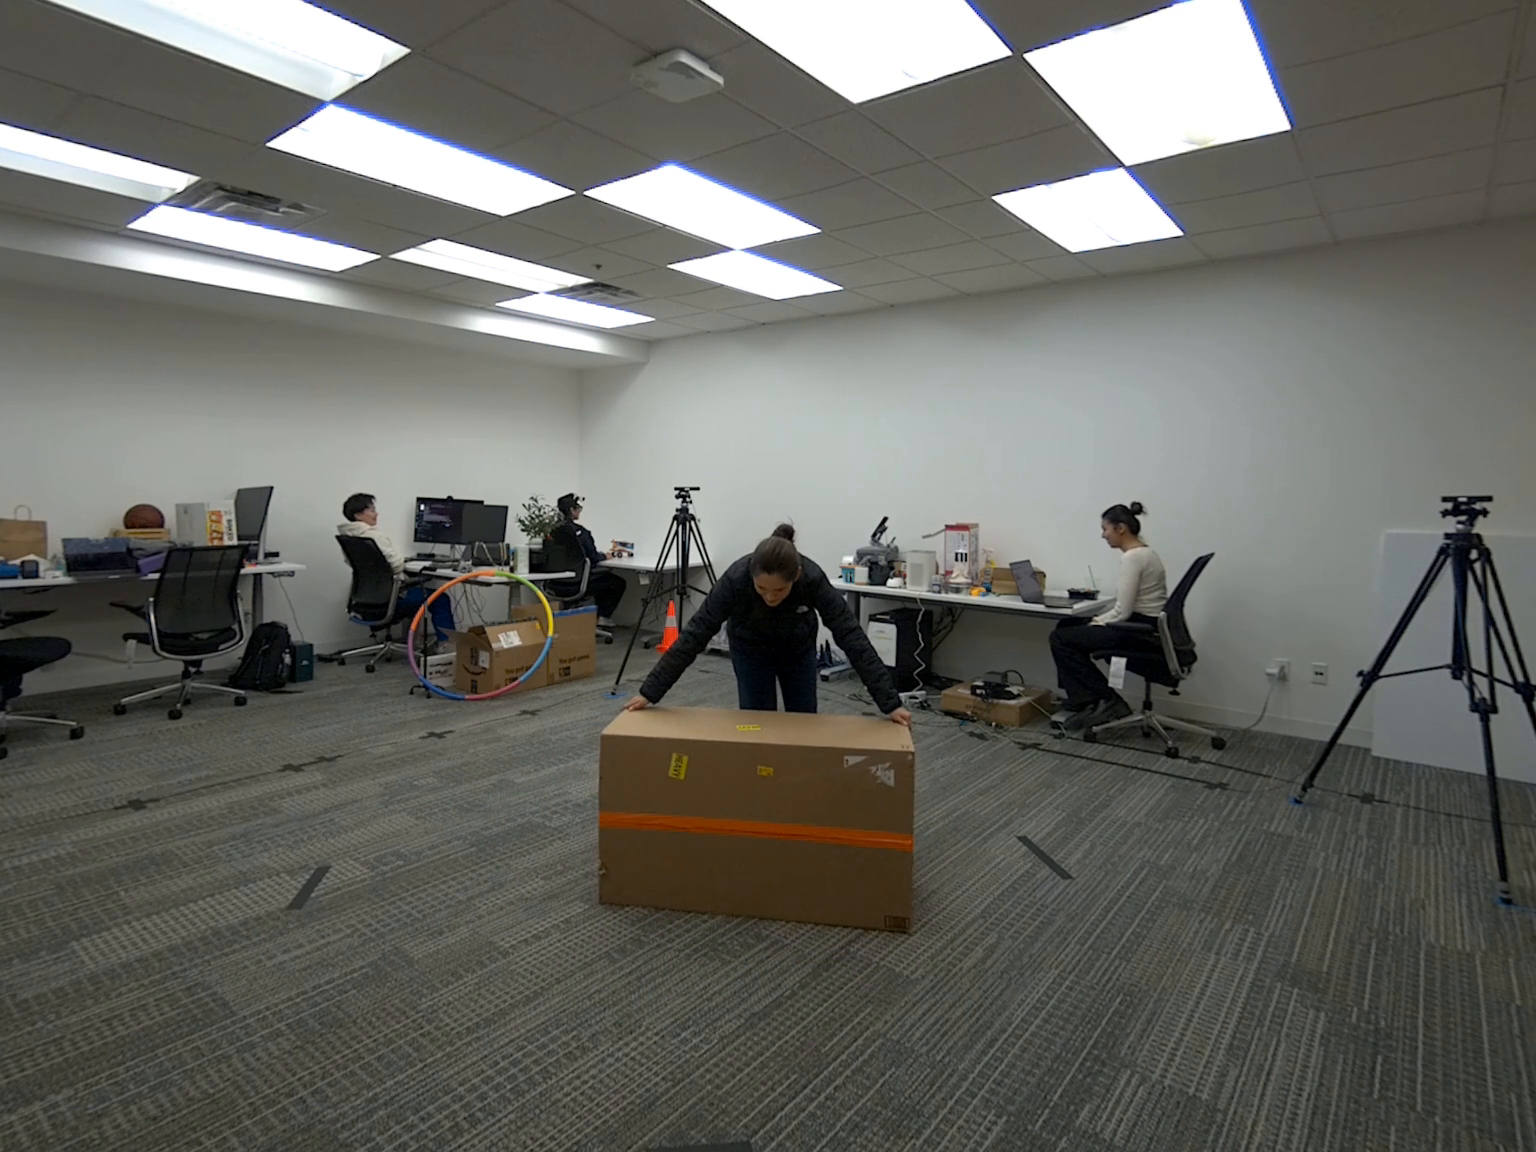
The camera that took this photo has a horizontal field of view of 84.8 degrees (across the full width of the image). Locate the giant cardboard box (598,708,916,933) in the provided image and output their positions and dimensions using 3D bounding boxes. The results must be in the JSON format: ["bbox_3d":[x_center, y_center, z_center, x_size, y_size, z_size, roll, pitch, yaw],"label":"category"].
[{"bbox_3d":[-0.022,0.797,2.955,1.037,0.582,0.444,1,4,8],"label":"giant cardboard box"}]
